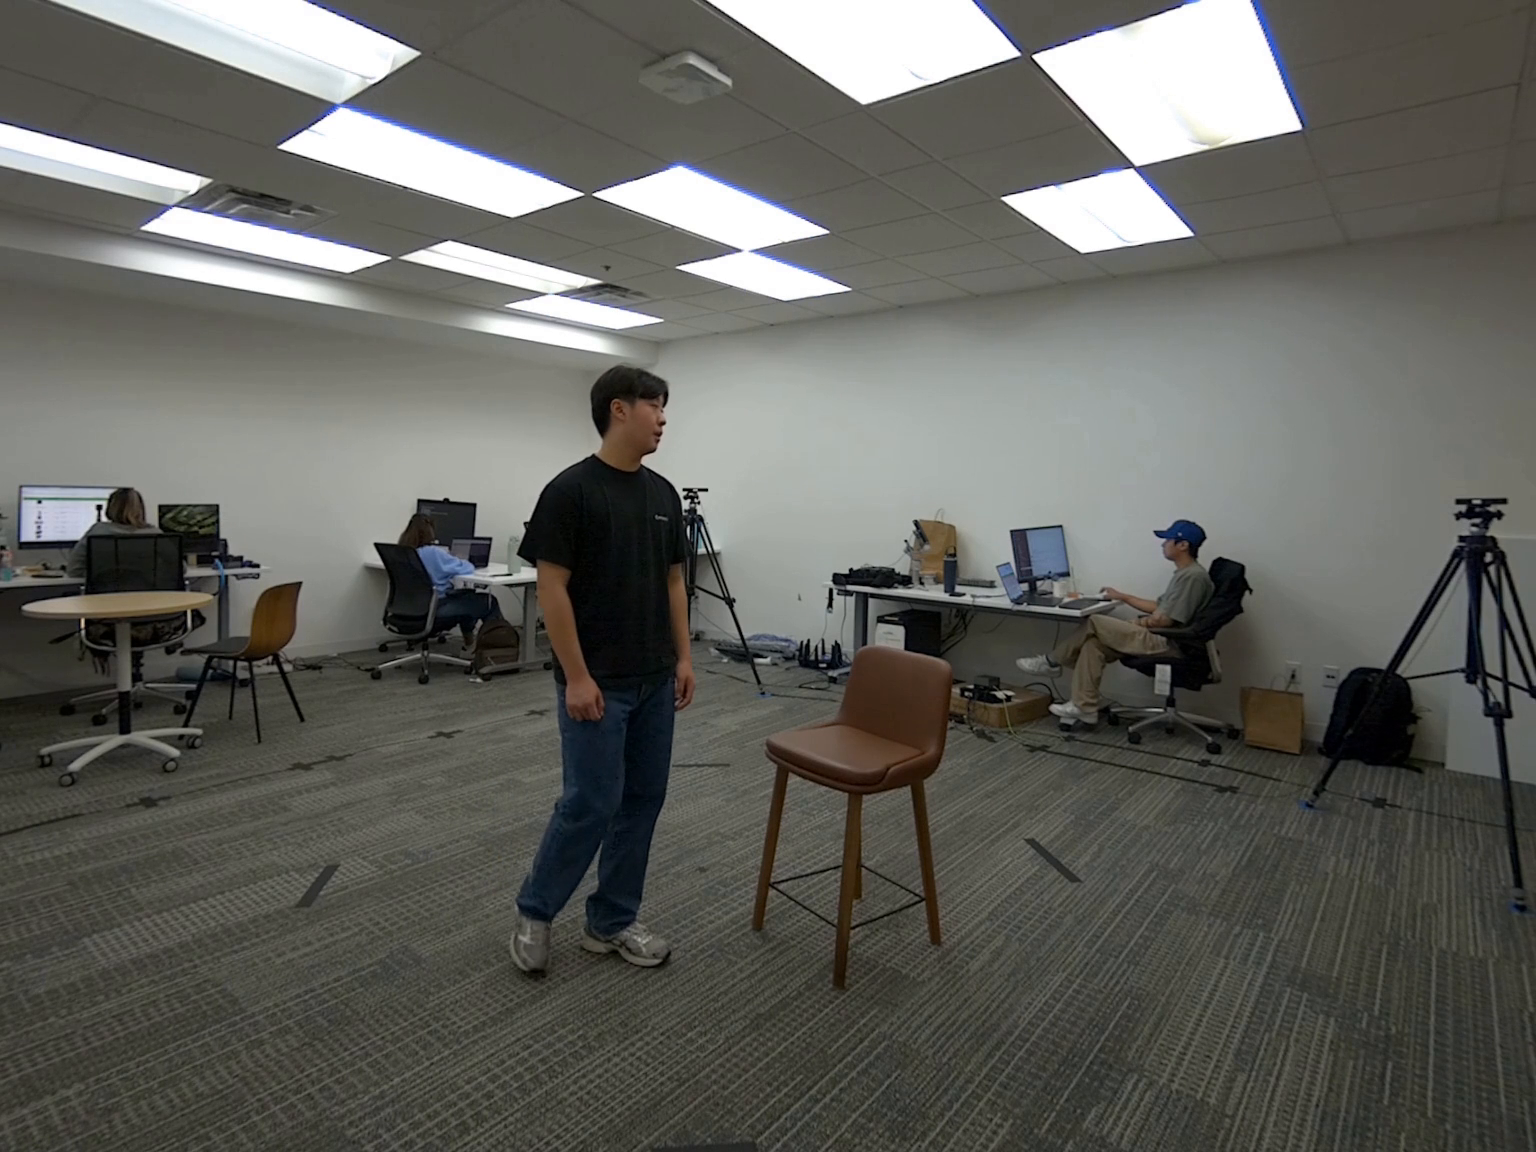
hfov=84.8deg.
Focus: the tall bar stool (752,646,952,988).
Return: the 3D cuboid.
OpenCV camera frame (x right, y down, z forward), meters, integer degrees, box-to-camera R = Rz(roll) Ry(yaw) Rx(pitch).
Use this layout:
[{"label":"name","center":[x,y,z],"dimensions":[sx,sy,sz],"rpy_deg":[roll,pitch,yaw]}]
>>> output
[{"label":"tall bar stool","center":[0.252,0.689,2.643],"dimensions":[0.453,0.888,0.472],"rpy_deg":[1,3,-37]}]
